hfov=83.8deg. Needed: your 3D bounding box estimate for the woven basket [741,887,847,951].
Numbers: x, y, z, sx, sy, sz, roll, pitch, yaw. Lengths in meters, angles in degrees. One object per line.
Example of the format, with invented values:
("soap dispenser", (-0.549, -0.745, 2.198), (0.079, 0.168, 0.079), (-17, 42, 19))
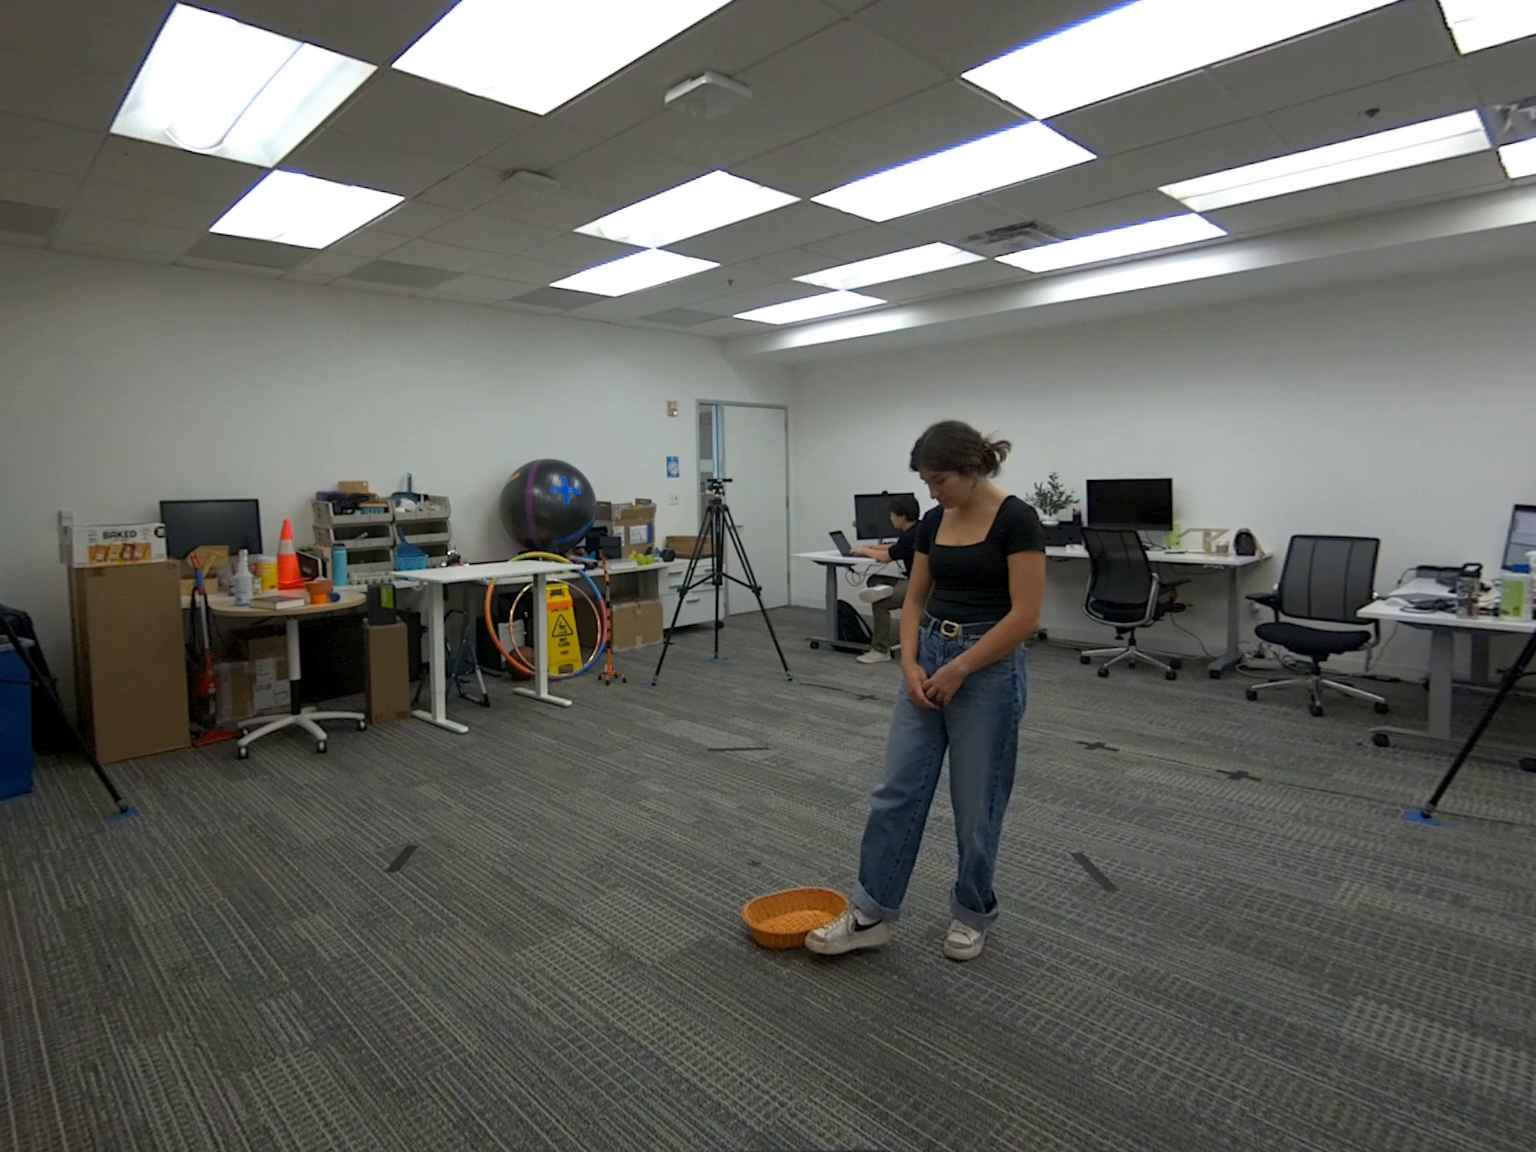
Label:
("woven basket", (0.096, 1.056, 2.628), (0.344, 0.073, 0.258), (-4, 5, -22))
